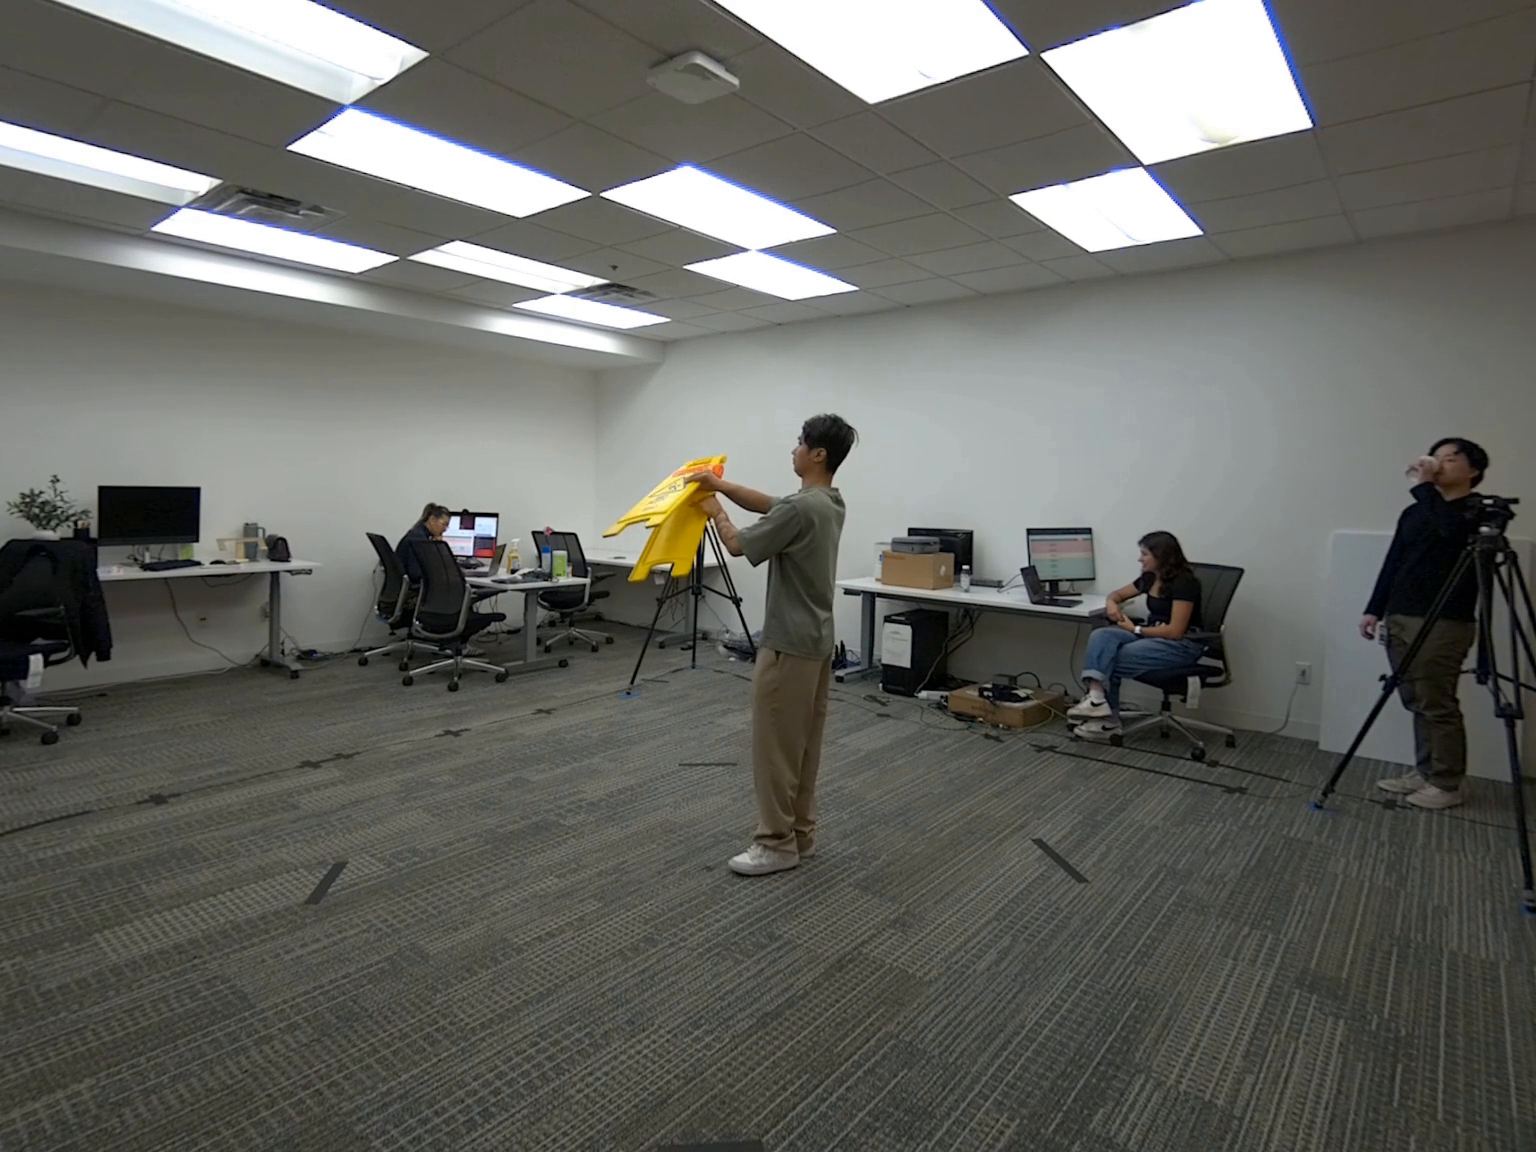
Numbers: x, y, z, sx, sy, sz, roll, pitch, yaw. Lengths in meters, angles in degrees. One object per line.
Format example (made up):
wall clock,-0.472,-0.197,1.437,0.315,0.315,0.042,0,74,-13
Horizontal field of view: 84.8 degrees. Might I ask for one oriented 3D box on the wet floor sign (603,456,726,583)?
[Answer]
wet floor sign,-0.366,-0.289,3.374,0.289,0.280,0.652,-7,37,30
